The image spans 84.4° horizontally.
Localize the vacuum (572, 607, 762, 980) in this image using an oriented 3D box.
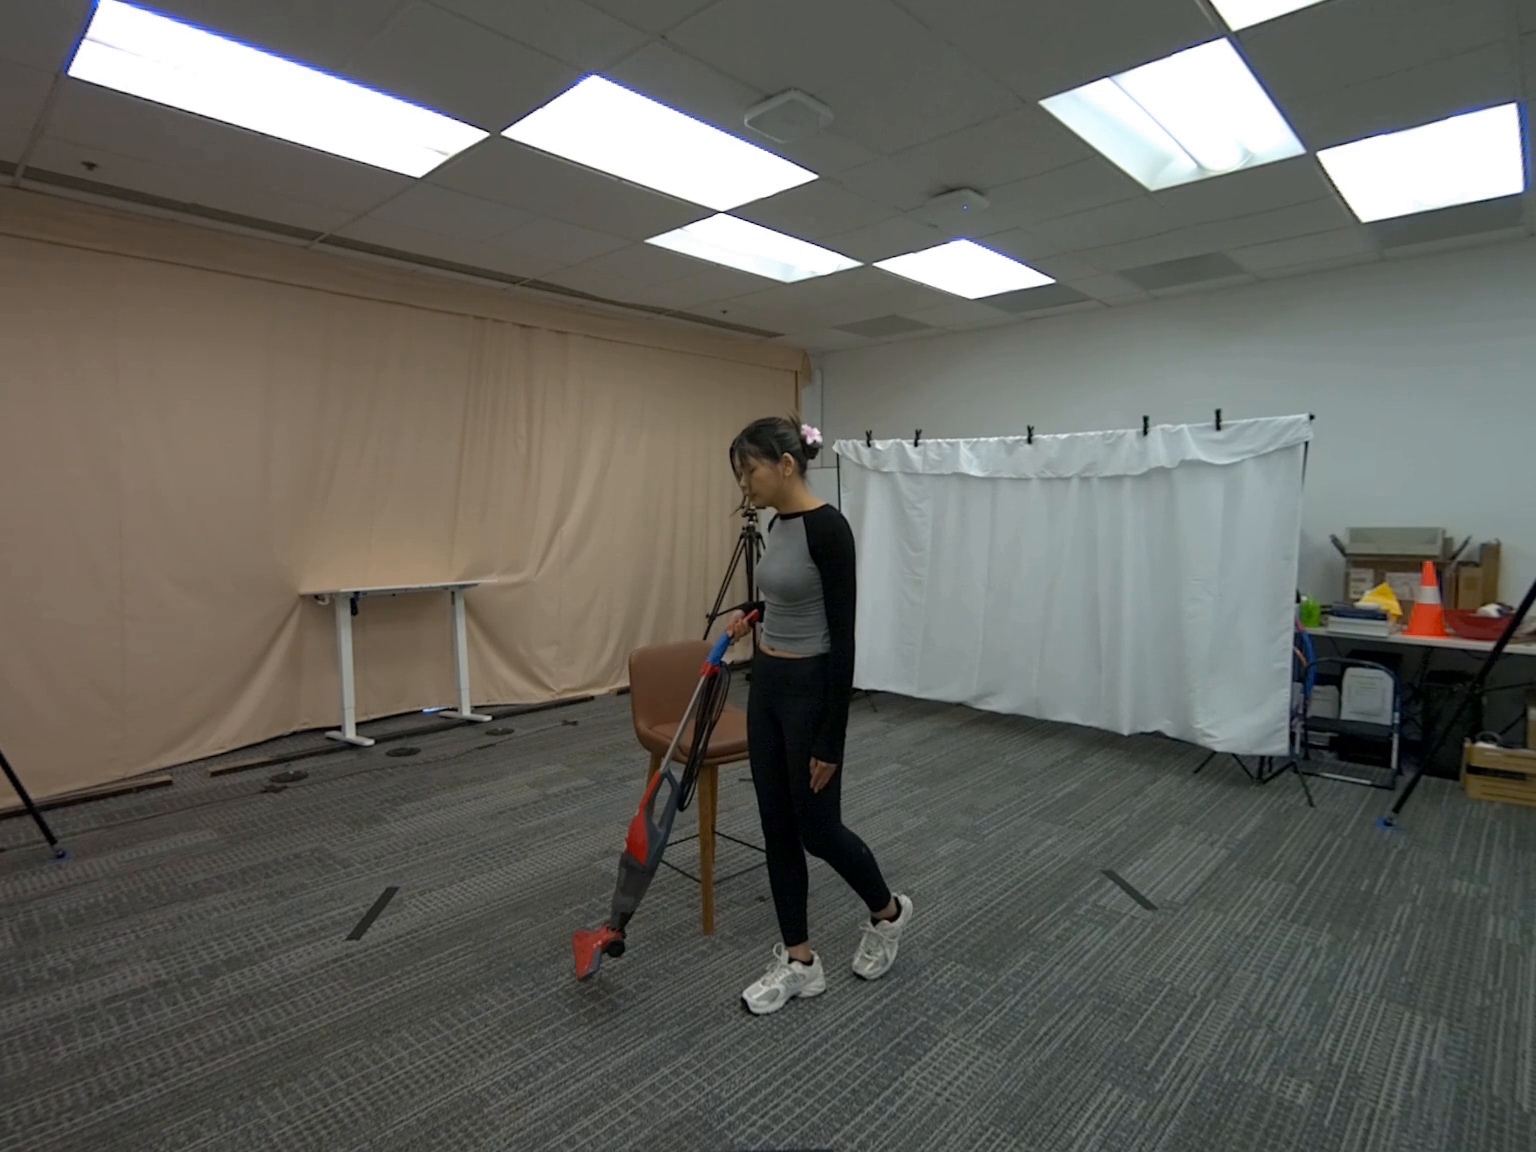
[{"bbox_3d":[-0.274,0.579,2.440,0.141,1.050,0.257,25,-7,-18],"label":"vacuum"}]
